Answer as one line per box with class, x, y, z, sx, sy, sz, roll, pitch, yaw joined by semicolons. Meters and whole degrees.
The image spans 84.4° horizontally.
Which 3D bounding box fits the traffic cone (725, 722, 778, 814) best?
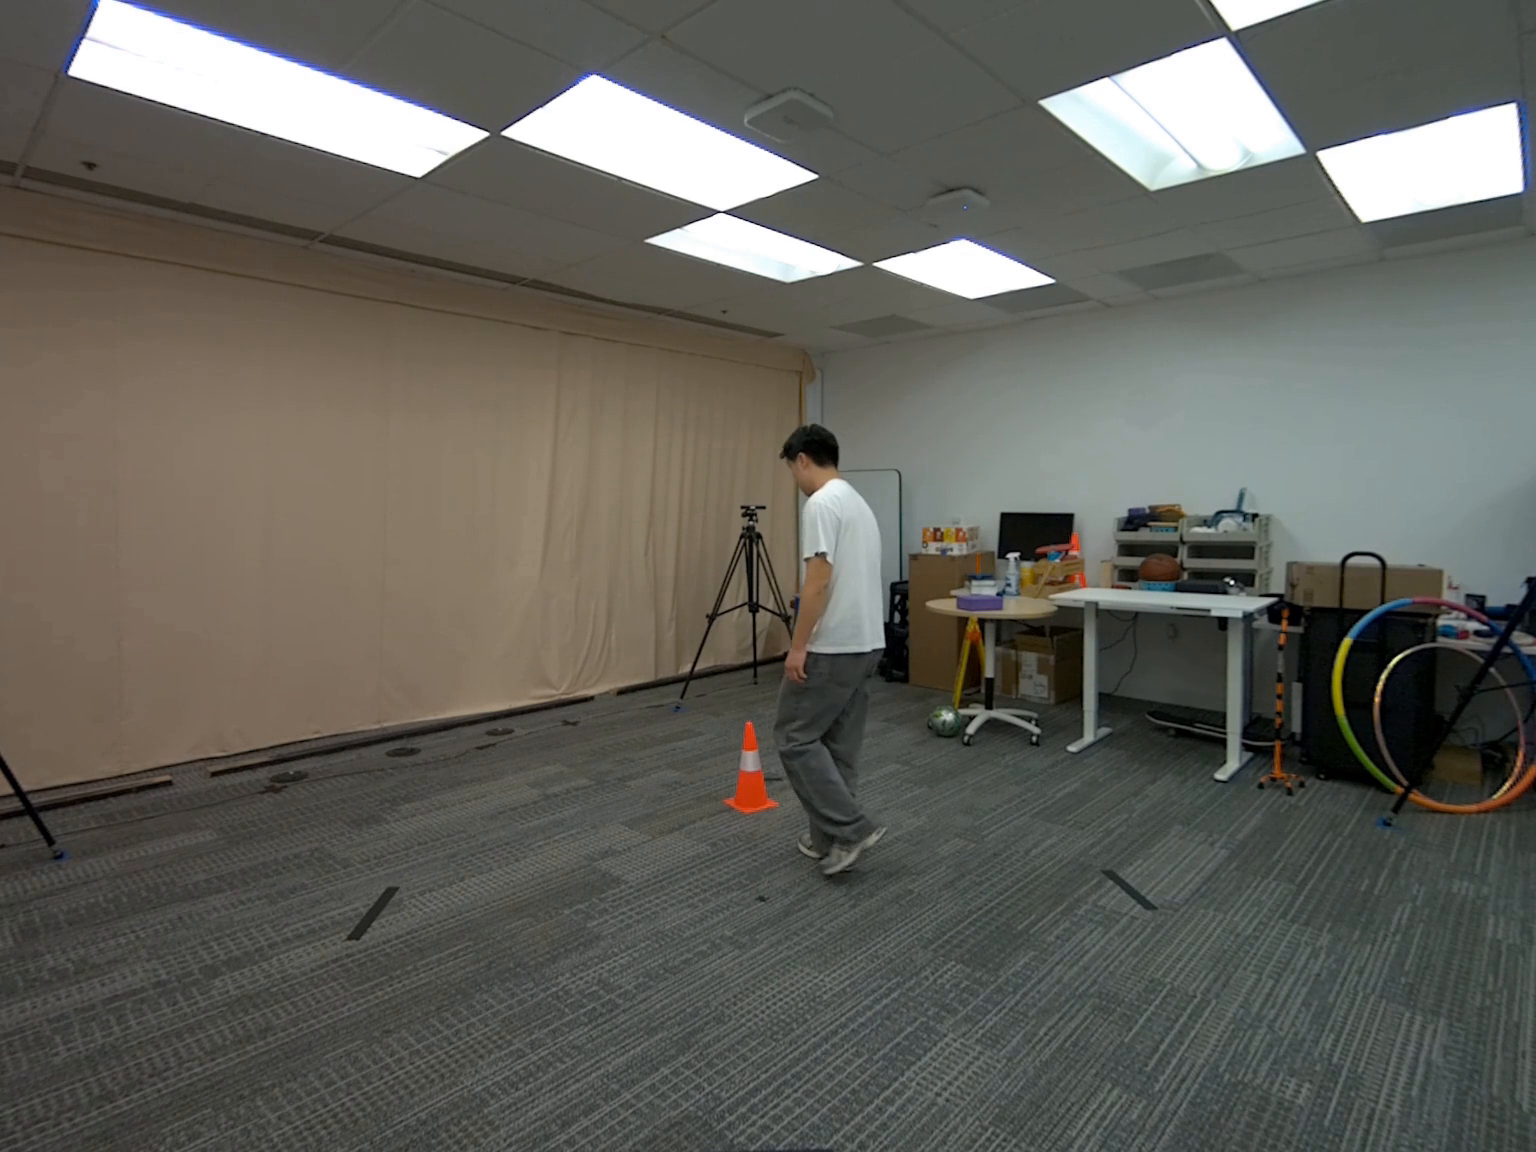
traffic cone;-0.082;0.881;3.957;0.197;0.383;0.211;-3;3;-40
